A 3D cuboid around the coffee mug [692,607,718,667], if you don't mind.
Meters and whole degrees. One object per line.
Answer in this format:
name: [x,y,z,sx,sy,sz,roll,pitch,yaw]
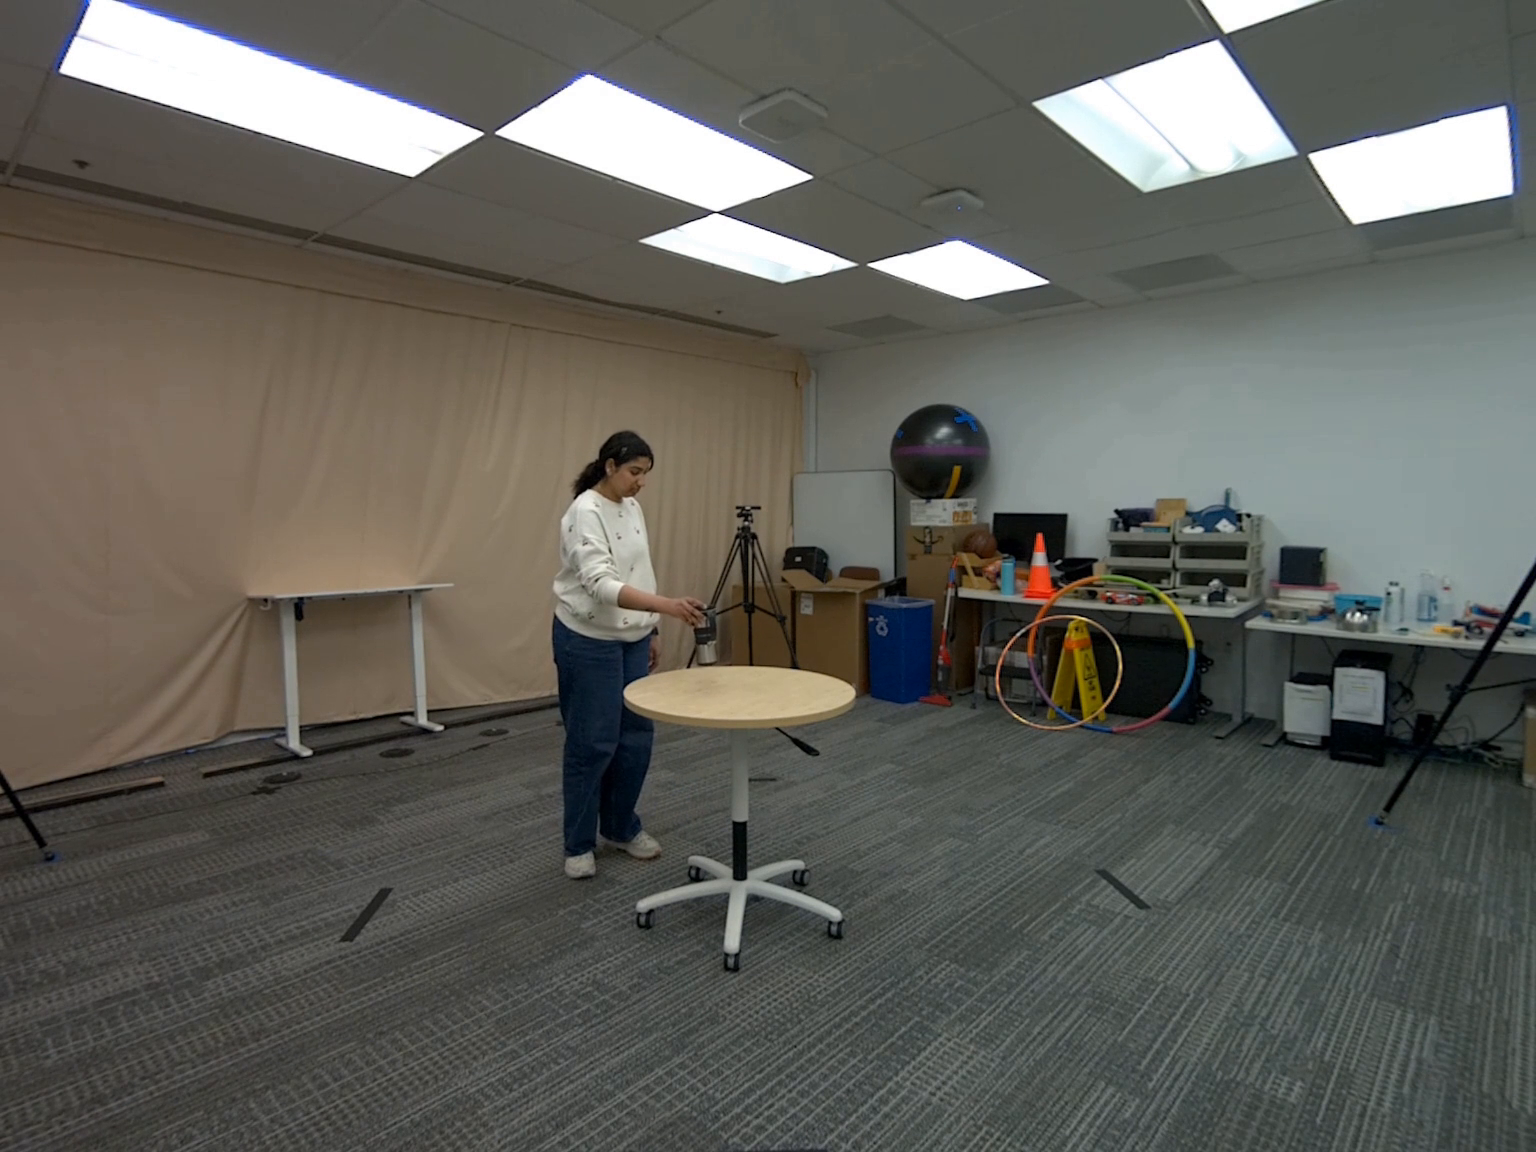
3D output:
coffee mug: [-0.227,0.203,2.828,0.090,0.203,0.118,1,1,36]
